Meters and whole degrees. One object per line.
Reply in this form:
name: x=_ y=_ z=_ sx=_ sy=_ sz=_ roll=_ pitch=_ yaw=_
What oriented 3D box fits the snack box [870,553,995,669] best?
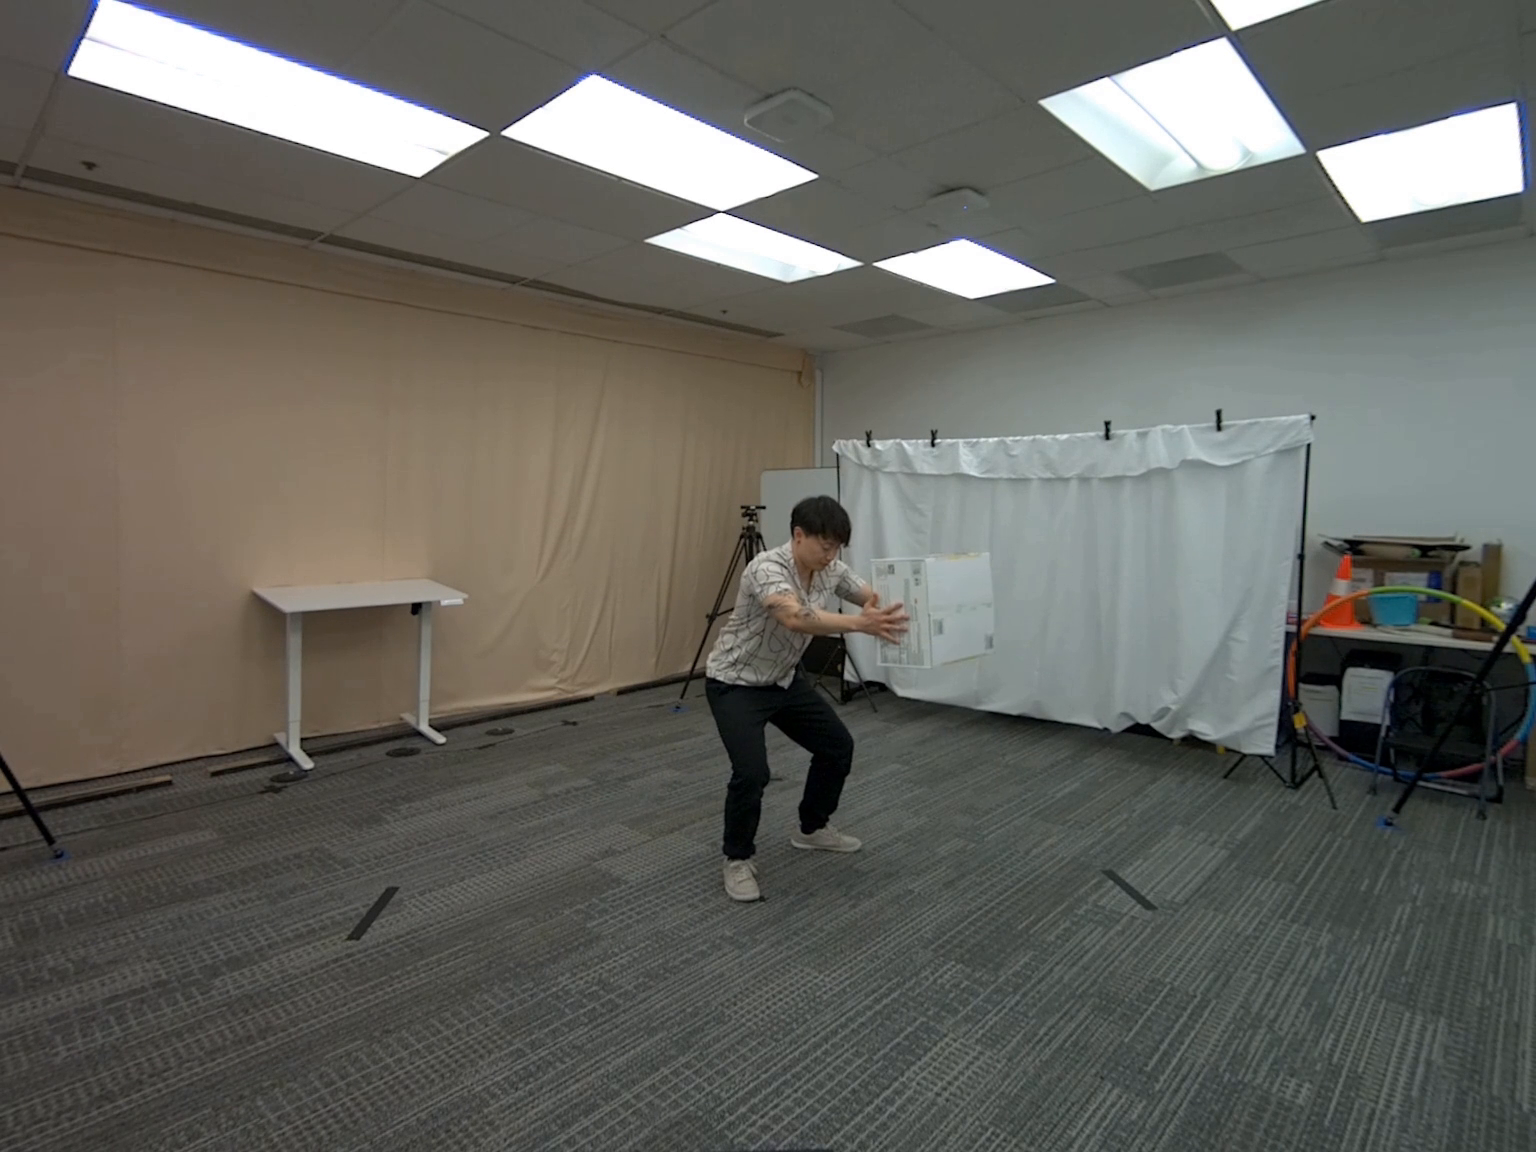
snack box: x=0.553 y=0.104 z=2.748 sx=0.212 sy=0.340 sz=0.393 roll=-3 pitch=1 yaw=44
